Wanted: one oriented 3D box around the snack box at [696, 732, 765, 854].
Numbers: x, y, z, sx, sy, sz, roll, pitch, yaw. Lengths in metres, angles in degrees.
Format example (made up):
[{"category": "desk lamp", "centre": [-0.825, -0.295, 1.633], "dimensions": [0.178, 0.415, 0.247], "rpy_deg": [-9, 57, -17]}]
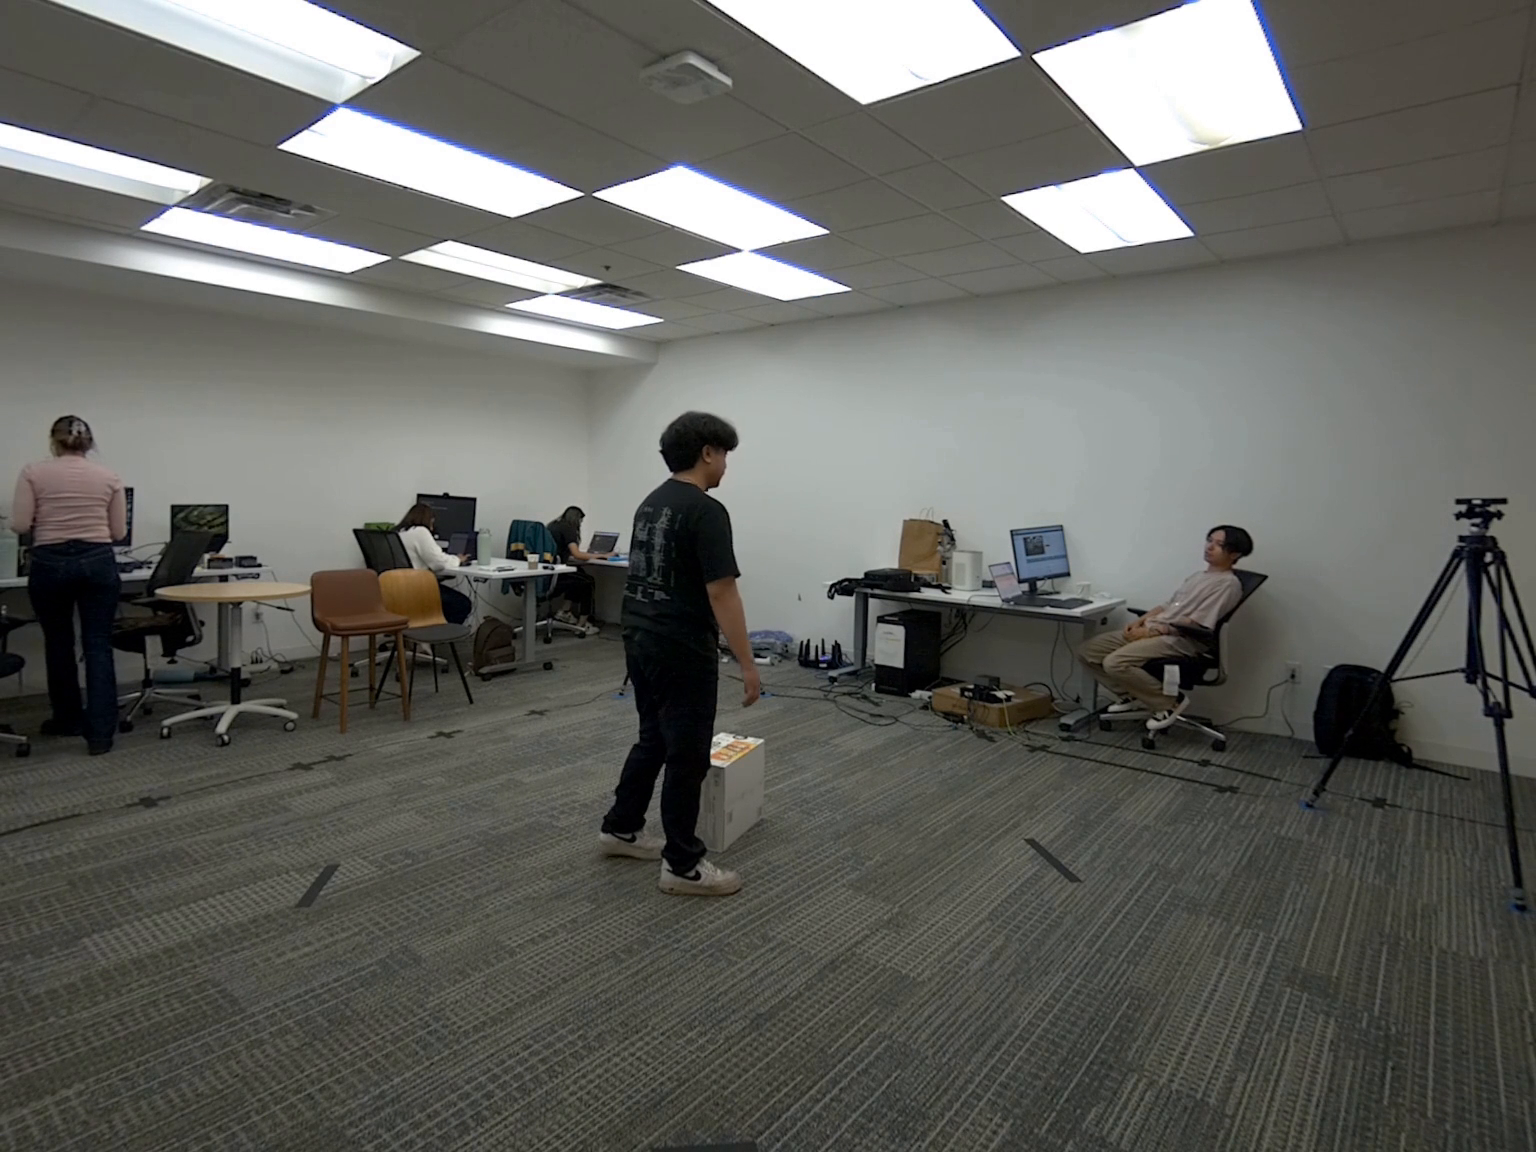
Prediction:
[{"category": "snack box", "centre": [-0.194, 0.865, 3.459], "dimensions": [0.211, 0.339, 0.397], "rpy_deg": [3, 5, 23]}]
